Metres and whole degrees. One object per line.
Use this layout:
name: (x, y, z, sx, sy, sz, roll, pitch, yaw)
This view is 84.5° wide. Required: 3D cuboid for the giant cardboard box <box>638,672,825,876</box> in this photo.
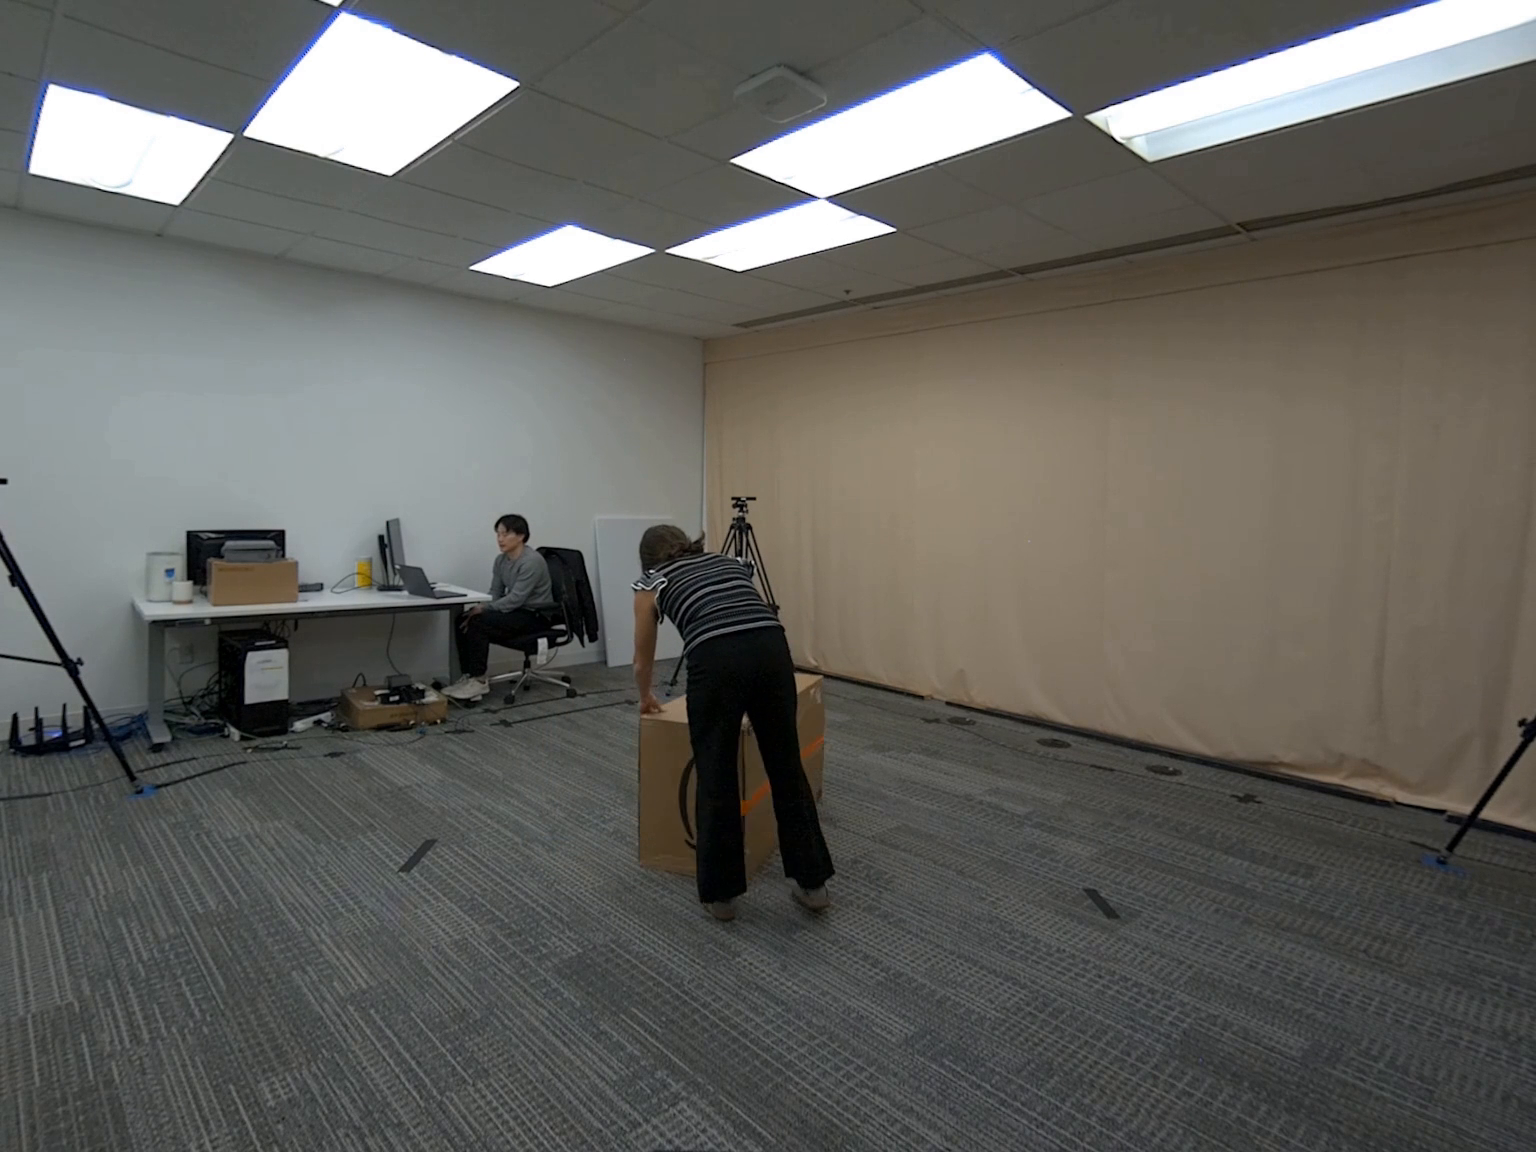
giant cardboard box: (-0.118, 0.778, 3.556, 0.433, 0.576, 1.011, 3, 5, 21)
